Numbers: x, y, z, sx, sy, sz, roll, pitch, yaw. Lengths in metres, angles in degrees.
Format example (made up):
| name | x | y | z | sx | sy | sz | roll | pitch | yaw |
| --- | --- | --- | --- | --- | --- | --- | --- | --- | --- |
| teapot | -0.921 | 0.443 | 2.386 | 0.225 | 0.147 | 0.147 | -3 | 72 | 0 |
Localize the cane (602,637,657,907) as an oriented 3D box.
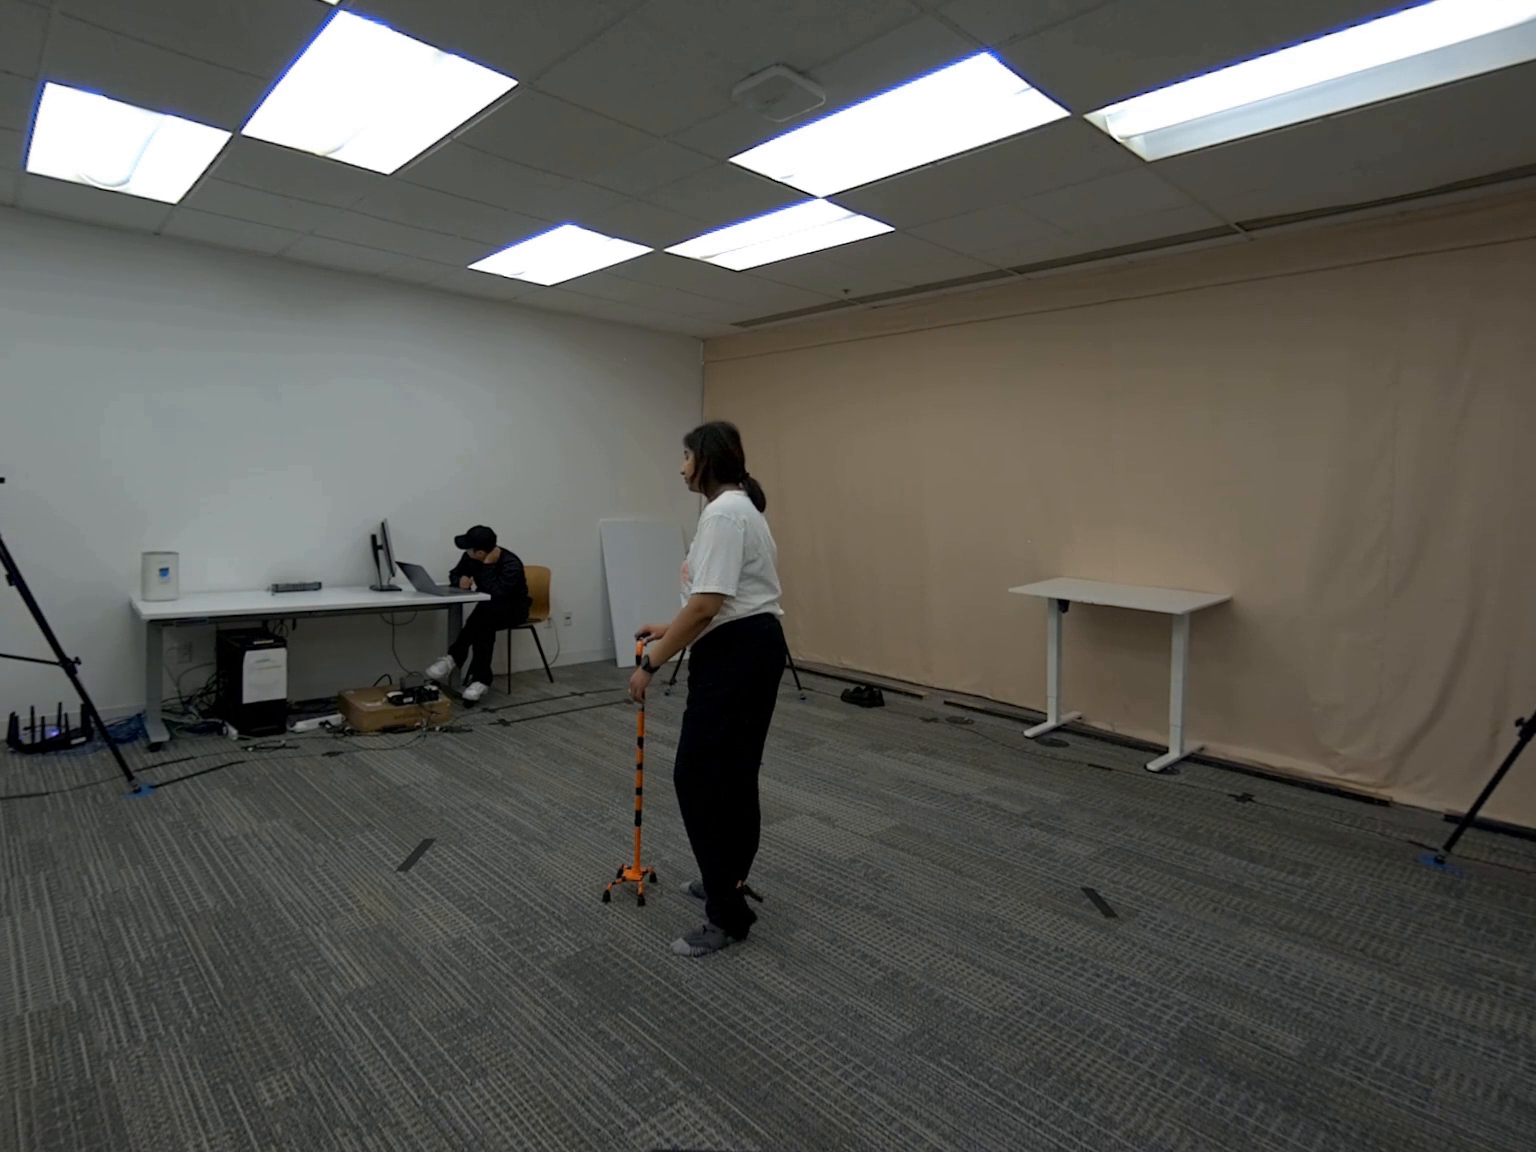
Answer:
| name | x | y | z | sx | sy | sz | roll | pitch | yaw |
| --- | --- | --- | --- | --- | --- | --- | --- | --- | --- |
| cane | -0.467 | 0.656 | 2.940 | 0.152 | 0.906 | 0.205 | 2 | 2 | 7 |
